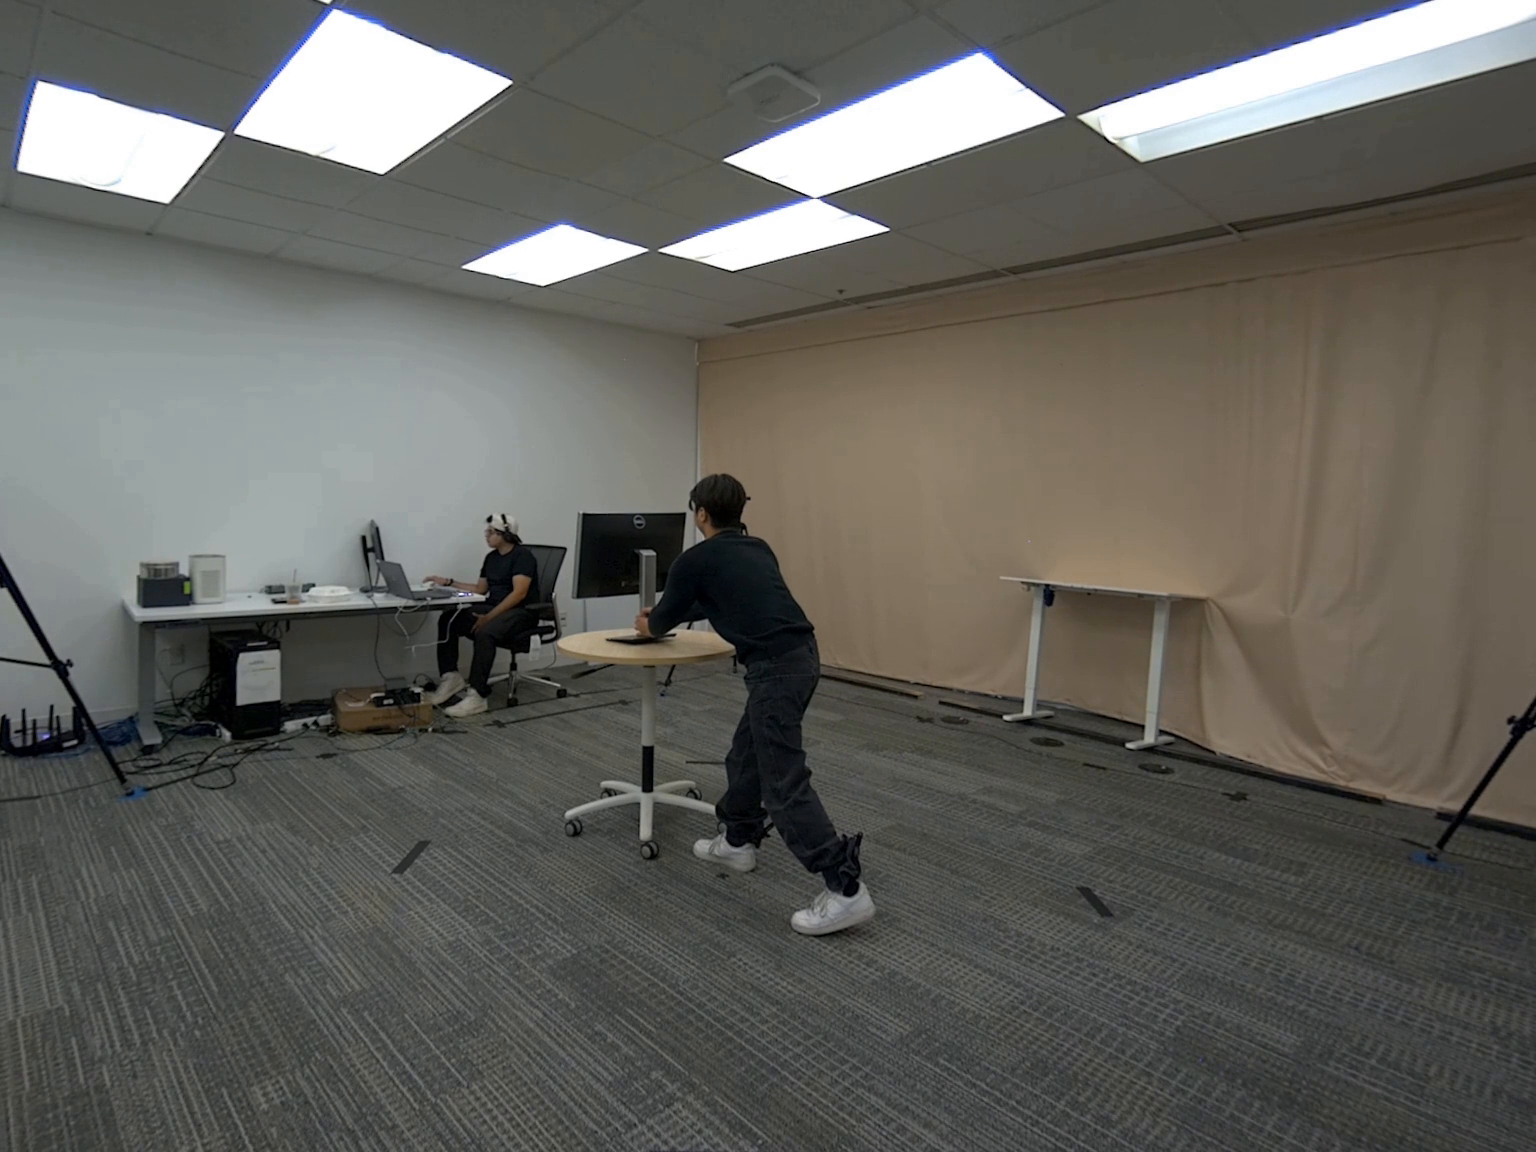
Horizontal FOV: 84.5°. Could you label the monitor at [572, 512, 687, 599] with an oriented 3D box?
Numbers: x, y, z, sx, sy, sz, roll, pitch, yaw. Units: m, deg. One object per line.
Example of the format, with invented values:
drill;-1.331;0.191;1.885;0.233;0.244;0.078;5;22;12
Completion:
monitor;-0.567;-0.002;3.592;0.191;0.523;0.527;-3;0;43
